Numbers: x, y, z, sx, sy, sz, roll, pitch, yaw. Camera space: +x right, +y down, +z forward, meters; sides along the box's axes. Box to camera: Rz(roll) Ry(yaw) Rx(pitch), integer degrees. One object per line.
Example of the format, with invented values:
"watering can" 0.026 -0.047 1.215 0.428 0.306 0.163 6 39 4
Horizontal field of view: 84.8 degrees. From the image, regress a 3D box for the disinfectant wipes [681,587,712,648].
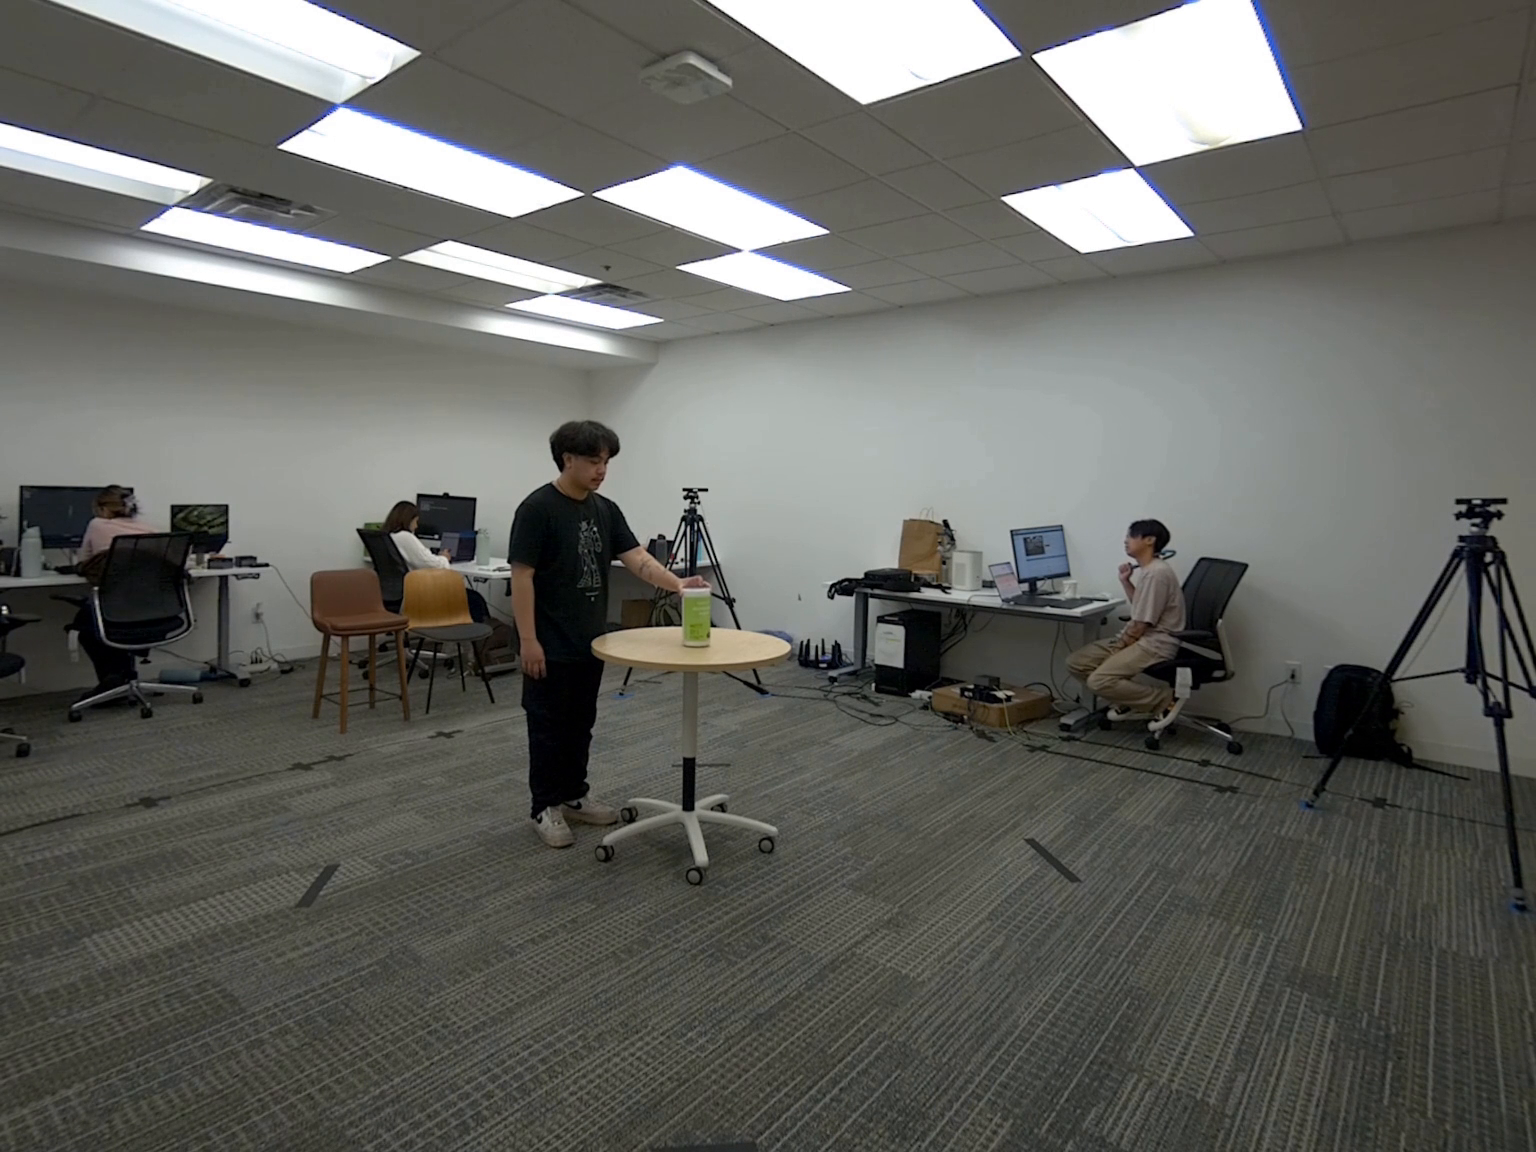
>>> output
"disinfectant wipes" -0.289 0.157 3.243 0.118 0.216 0.118 -3 5 -2
